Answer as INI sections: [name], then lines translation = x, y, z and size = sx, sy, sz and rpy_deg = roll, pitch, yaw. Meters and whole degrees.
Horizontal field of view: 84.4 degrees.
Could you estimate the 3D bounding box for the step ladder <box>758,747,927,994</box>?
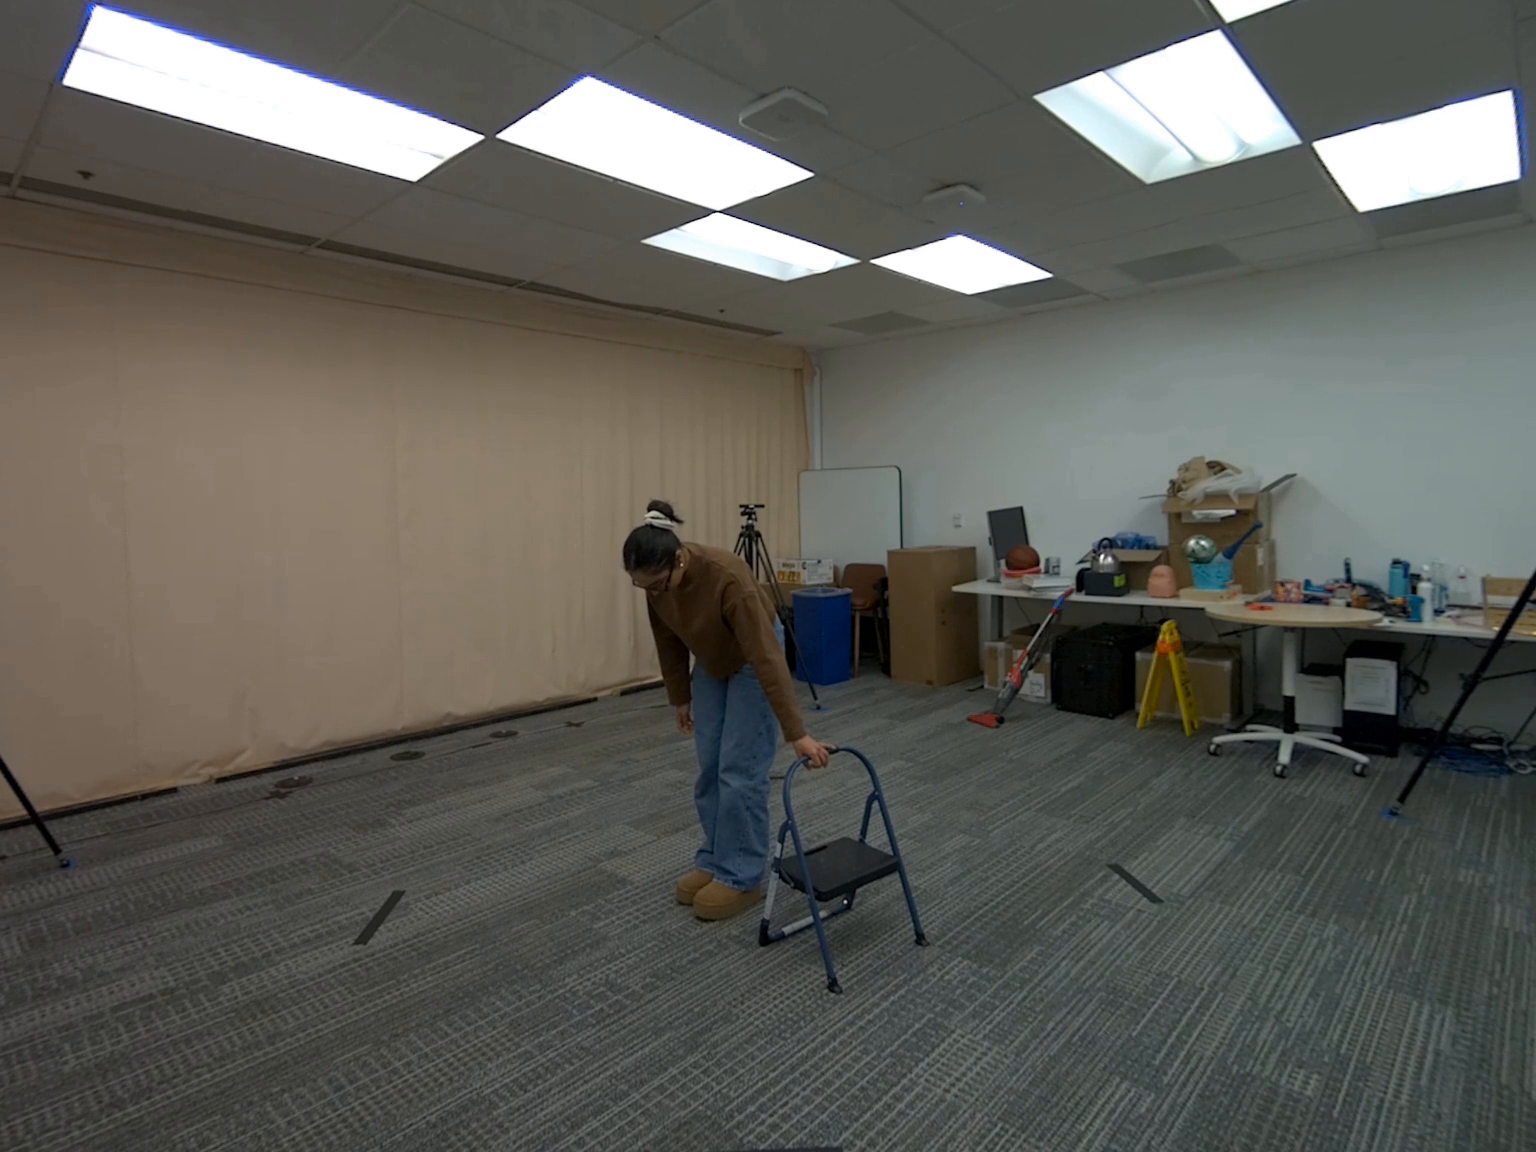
[step ladder]
translation = 0.236, 0.861, 2.641
size = 0.418, 0.605, 0.360
rpy_deg = -4, 4, -40
